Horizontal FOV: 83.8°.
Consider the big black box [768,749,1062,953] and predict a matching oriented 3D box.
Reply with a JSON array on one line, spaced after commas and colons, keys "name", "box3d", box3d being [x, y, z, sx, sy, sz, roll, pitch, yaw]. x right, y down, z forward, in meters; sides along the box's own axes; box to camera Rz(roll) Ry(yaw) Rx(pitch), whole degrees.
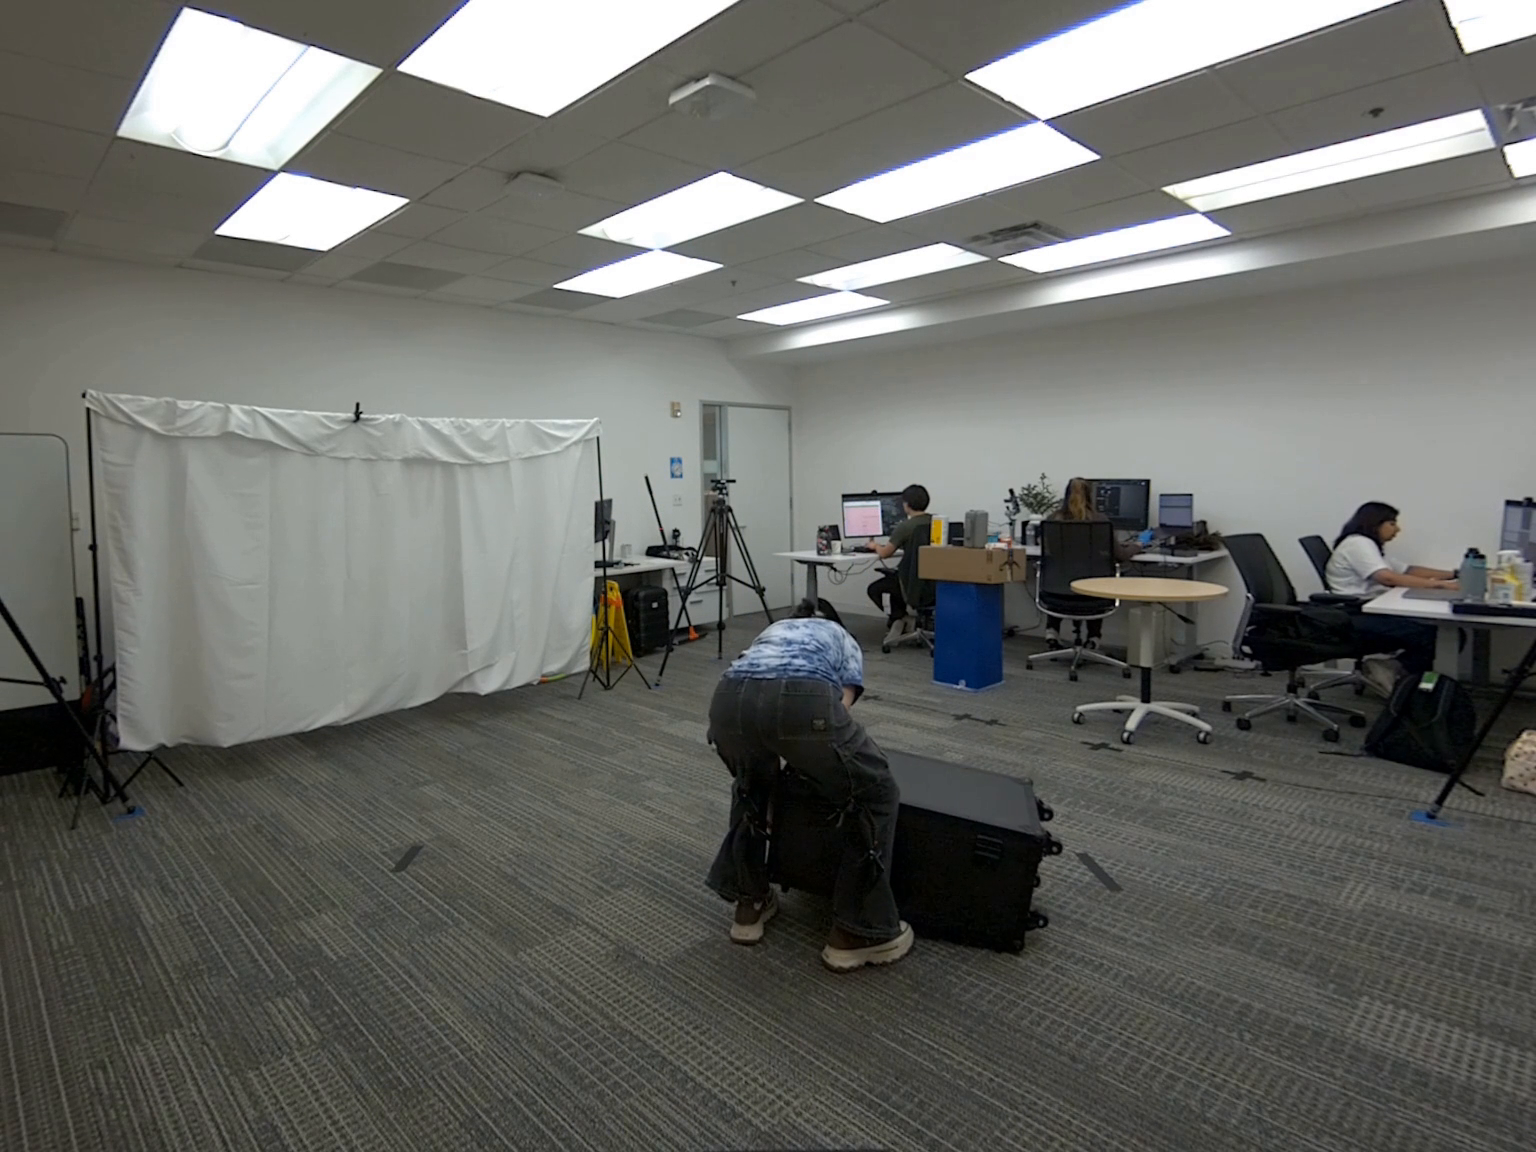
[{"name": "big black box", "box3d": [0.476, 0.838, 2.777, 0.876, 0.394, 0.515, 8, 7, 15]}]
